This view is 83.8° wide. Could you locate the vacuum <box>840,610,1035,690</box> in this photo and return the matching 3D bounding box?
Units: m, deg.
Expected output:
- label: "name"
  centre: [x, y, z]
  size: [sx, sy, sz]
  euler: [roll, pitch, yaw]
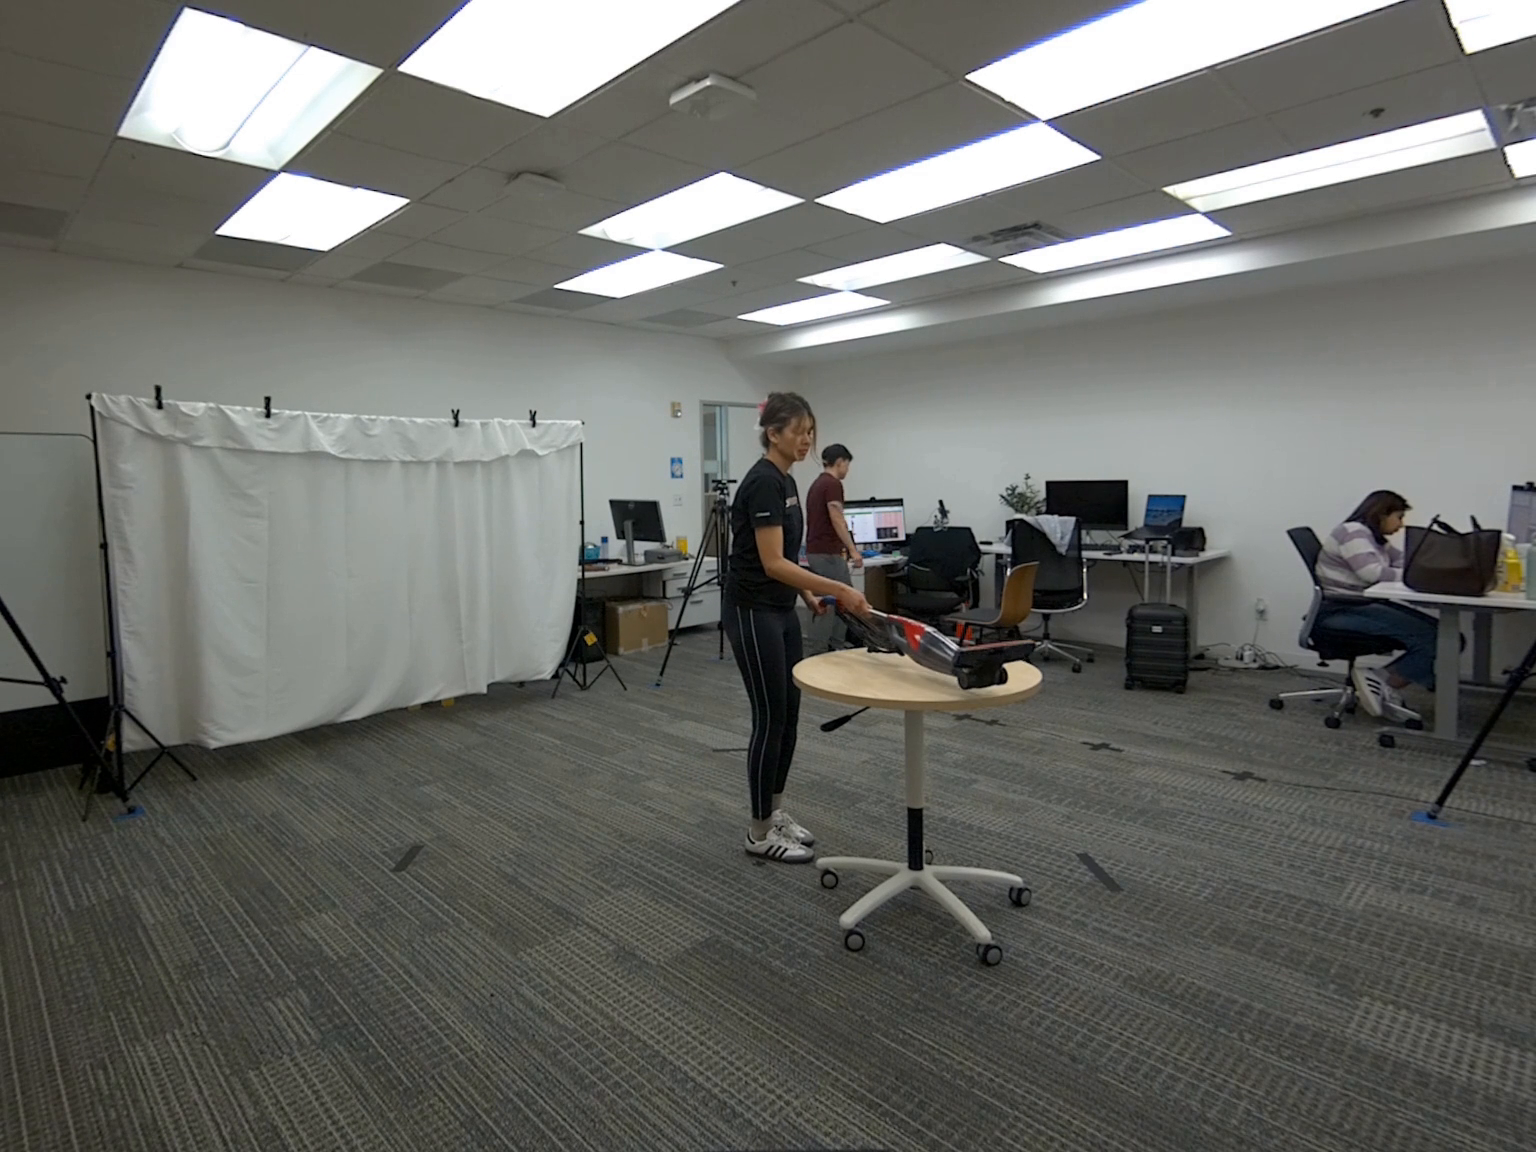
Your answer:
- label: "vacuum"
  centre: [0.401, 0.192, 2.797]
  size: [0.248, 0.143, 1.075]
  euler: [-5, 8, -23]
